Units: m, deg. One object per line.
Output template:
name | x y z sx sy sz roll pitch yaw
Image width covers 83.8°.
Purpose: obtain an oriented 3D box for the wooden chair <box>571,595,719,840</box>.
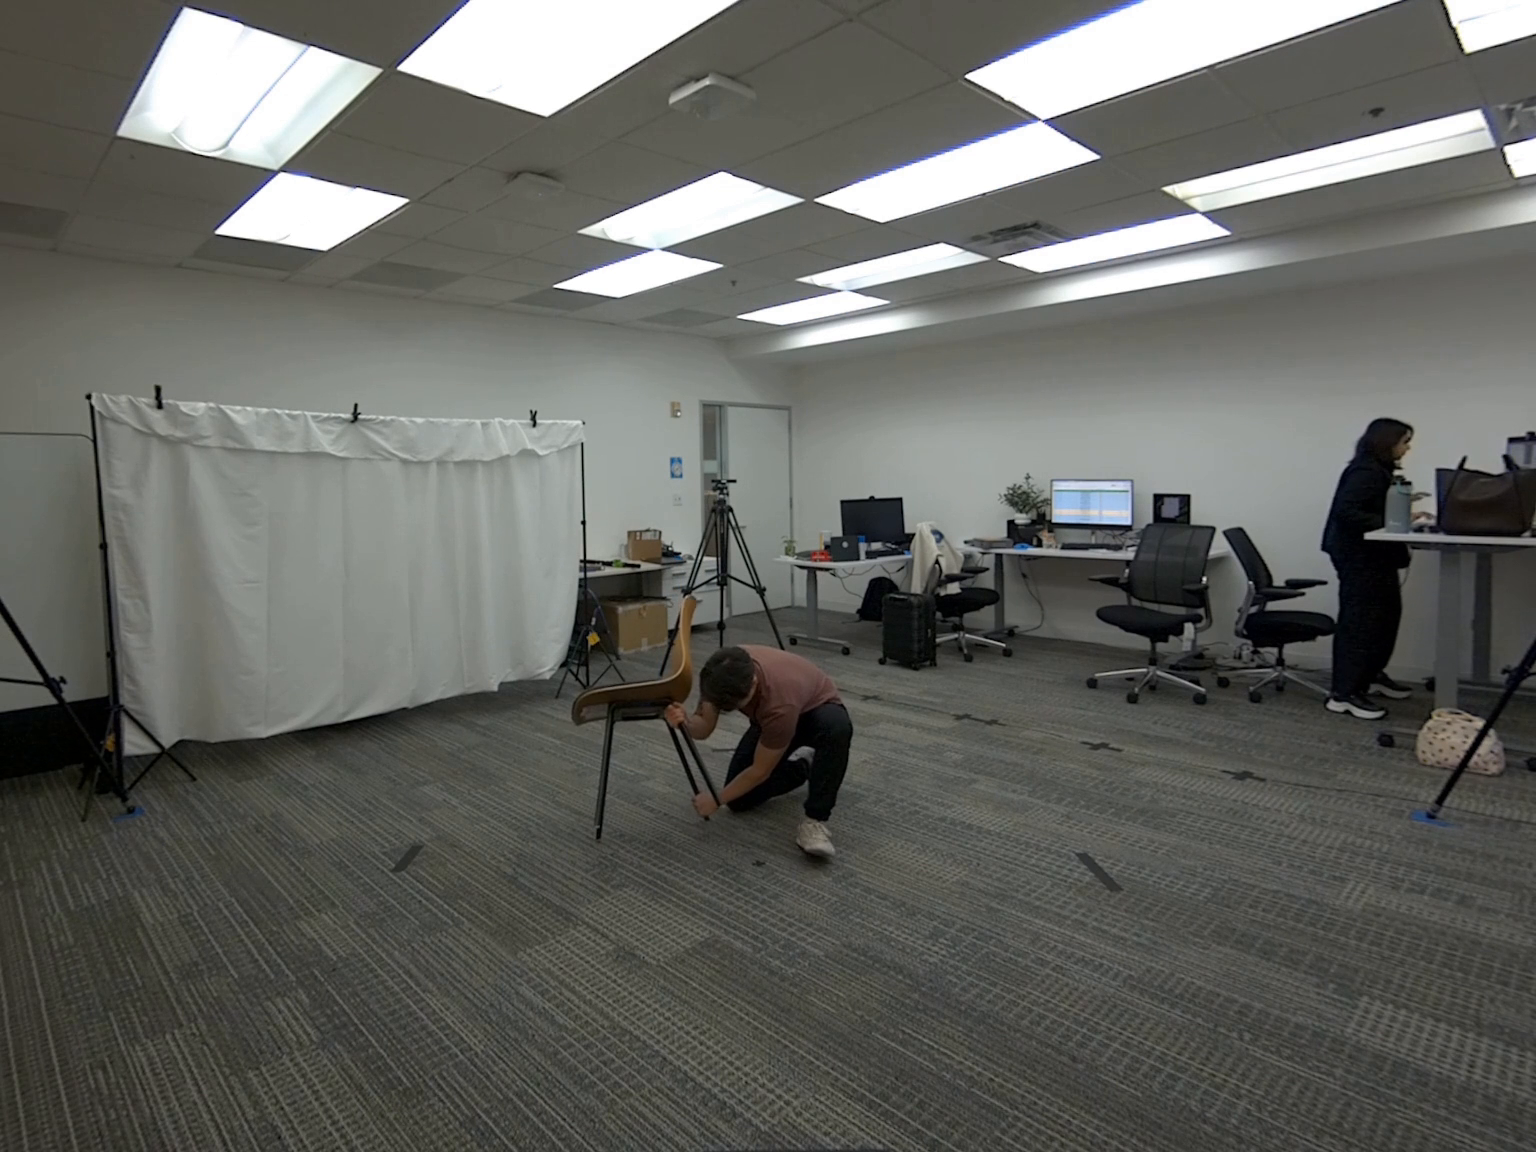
wooden chair | -0.503 0.539 3.344 0.518 0.897 0.472 -3 -24 -10
